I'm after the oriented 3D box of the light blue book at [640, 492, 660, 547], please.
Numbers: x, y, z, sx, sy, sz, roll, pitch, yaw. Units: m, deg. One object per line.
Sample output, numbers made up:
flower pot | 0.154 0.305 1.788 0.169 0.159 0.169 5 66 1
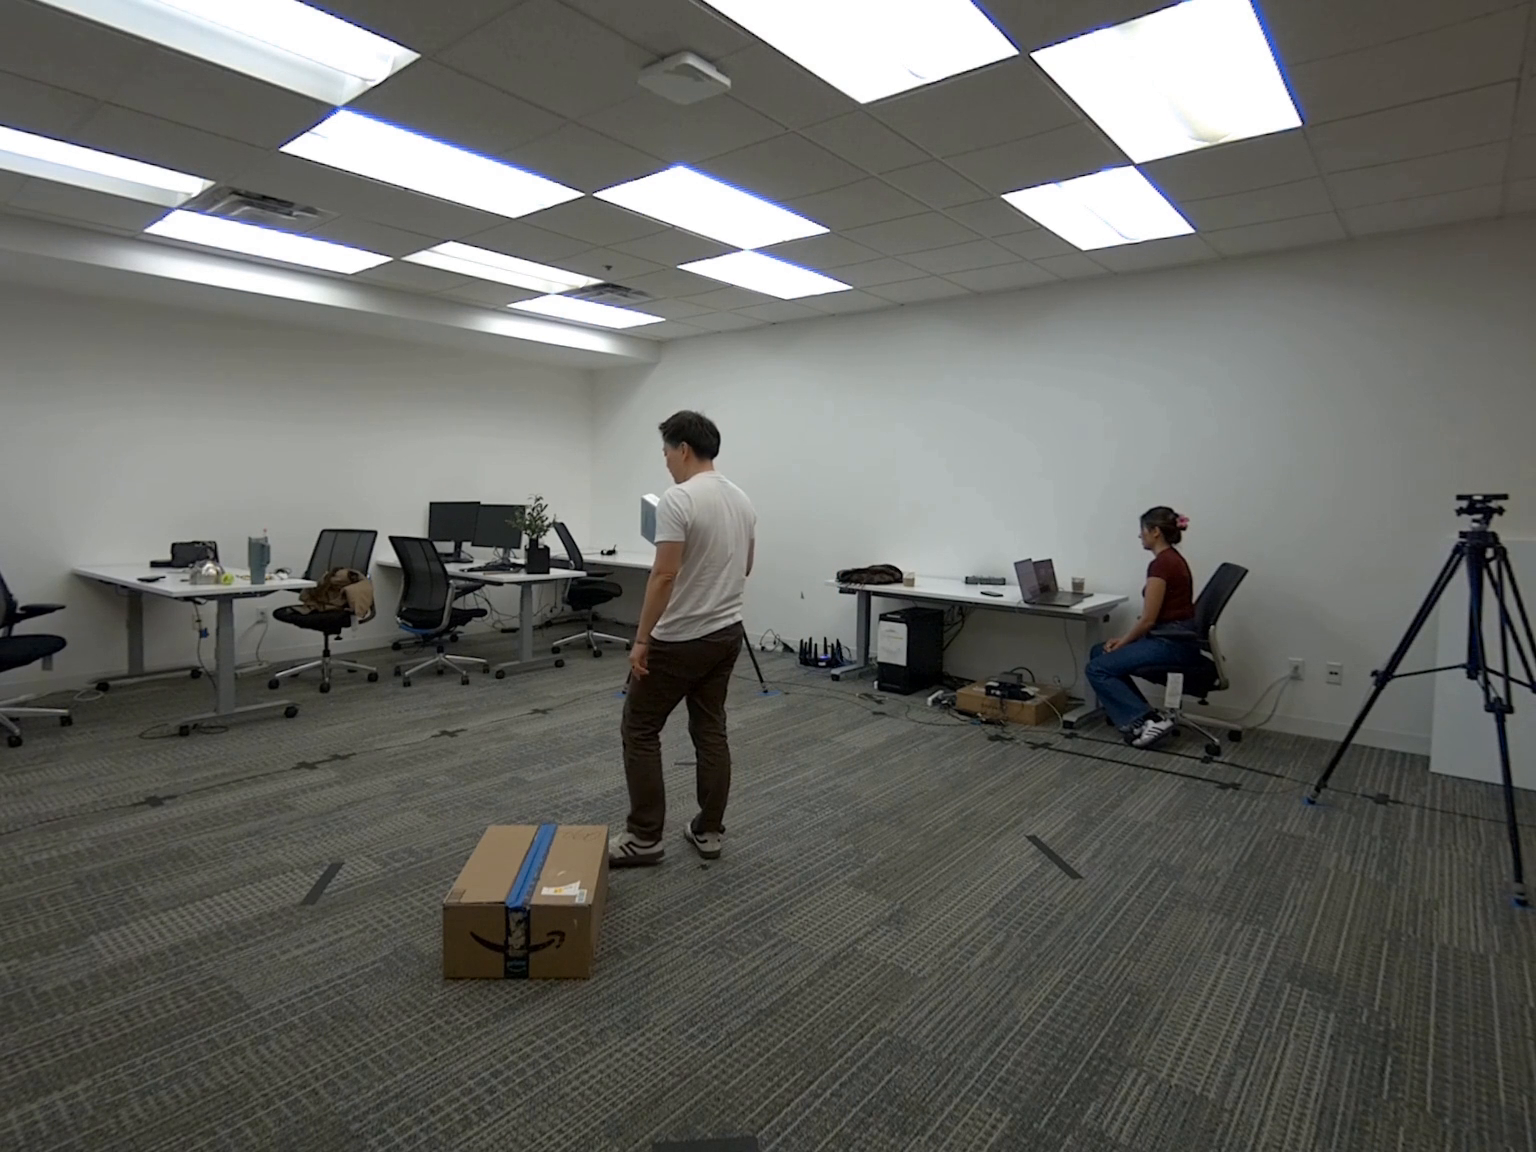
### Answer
light blue book | -0.430 -0.203 3.457 0.058 0.187 0.272 -19 39 -35
